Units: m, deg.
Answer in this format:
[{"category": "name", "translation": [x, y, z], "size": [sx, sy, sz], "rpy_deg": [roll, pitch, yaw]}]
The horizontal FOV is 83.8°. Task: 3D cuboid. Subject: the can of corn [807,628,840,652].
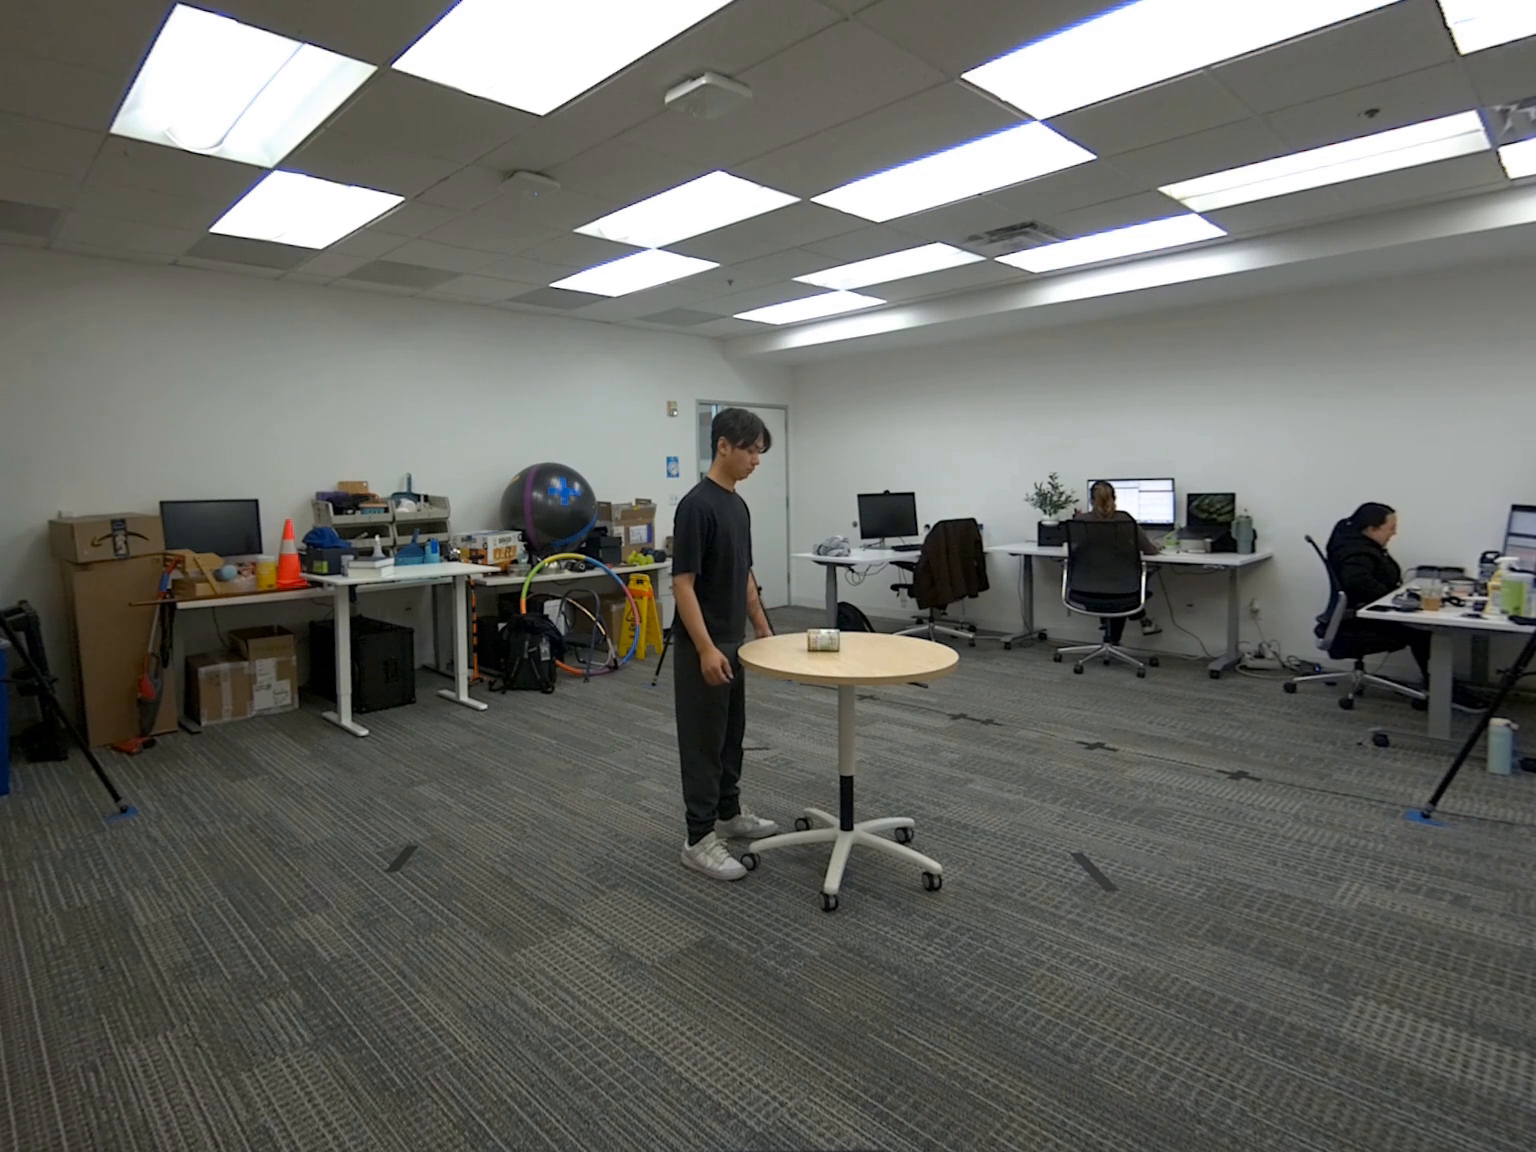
[{"category": "can of corn", "translation": [0.198, 0.227, 3.025], "size": [0.111, 0.074, 0.074], "rpy_deg": [-3, 5, 0]}]
